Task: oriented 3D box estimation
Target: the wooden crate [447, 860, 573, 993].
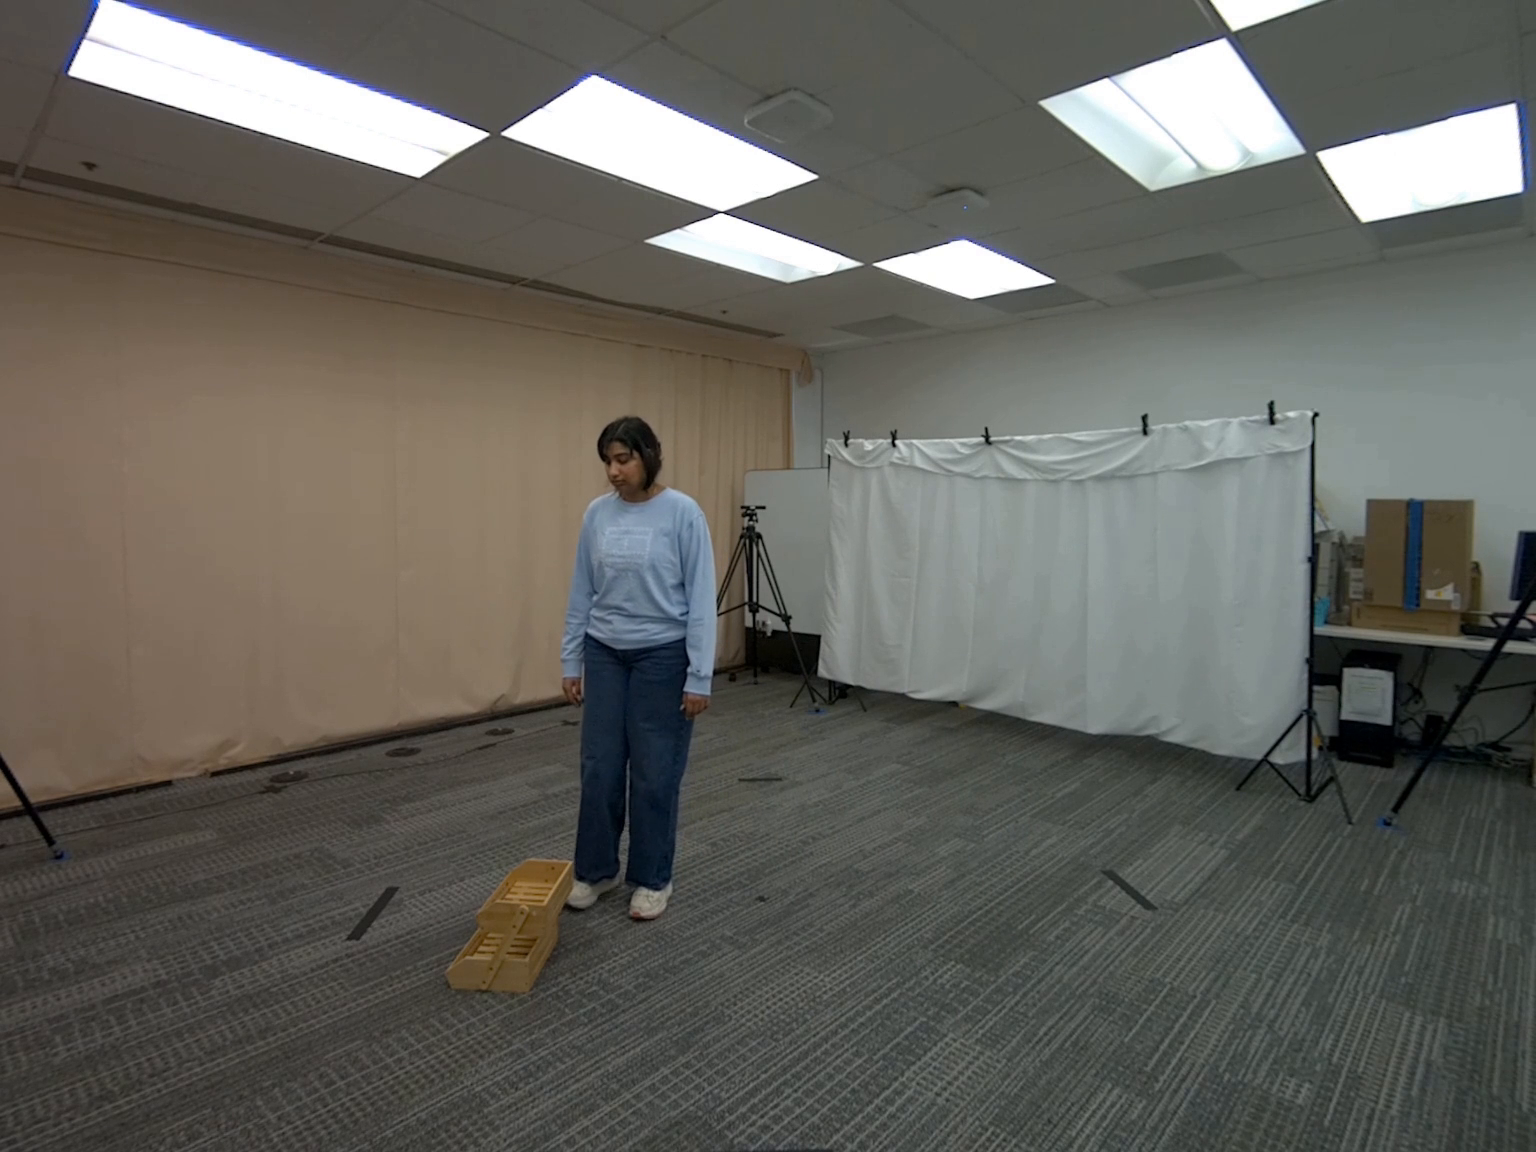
[{"bbox_3d":[-0.788,1.054,2.563,0.304,0.273,0.323,1,3,4],"label":"wooden crate"}]
